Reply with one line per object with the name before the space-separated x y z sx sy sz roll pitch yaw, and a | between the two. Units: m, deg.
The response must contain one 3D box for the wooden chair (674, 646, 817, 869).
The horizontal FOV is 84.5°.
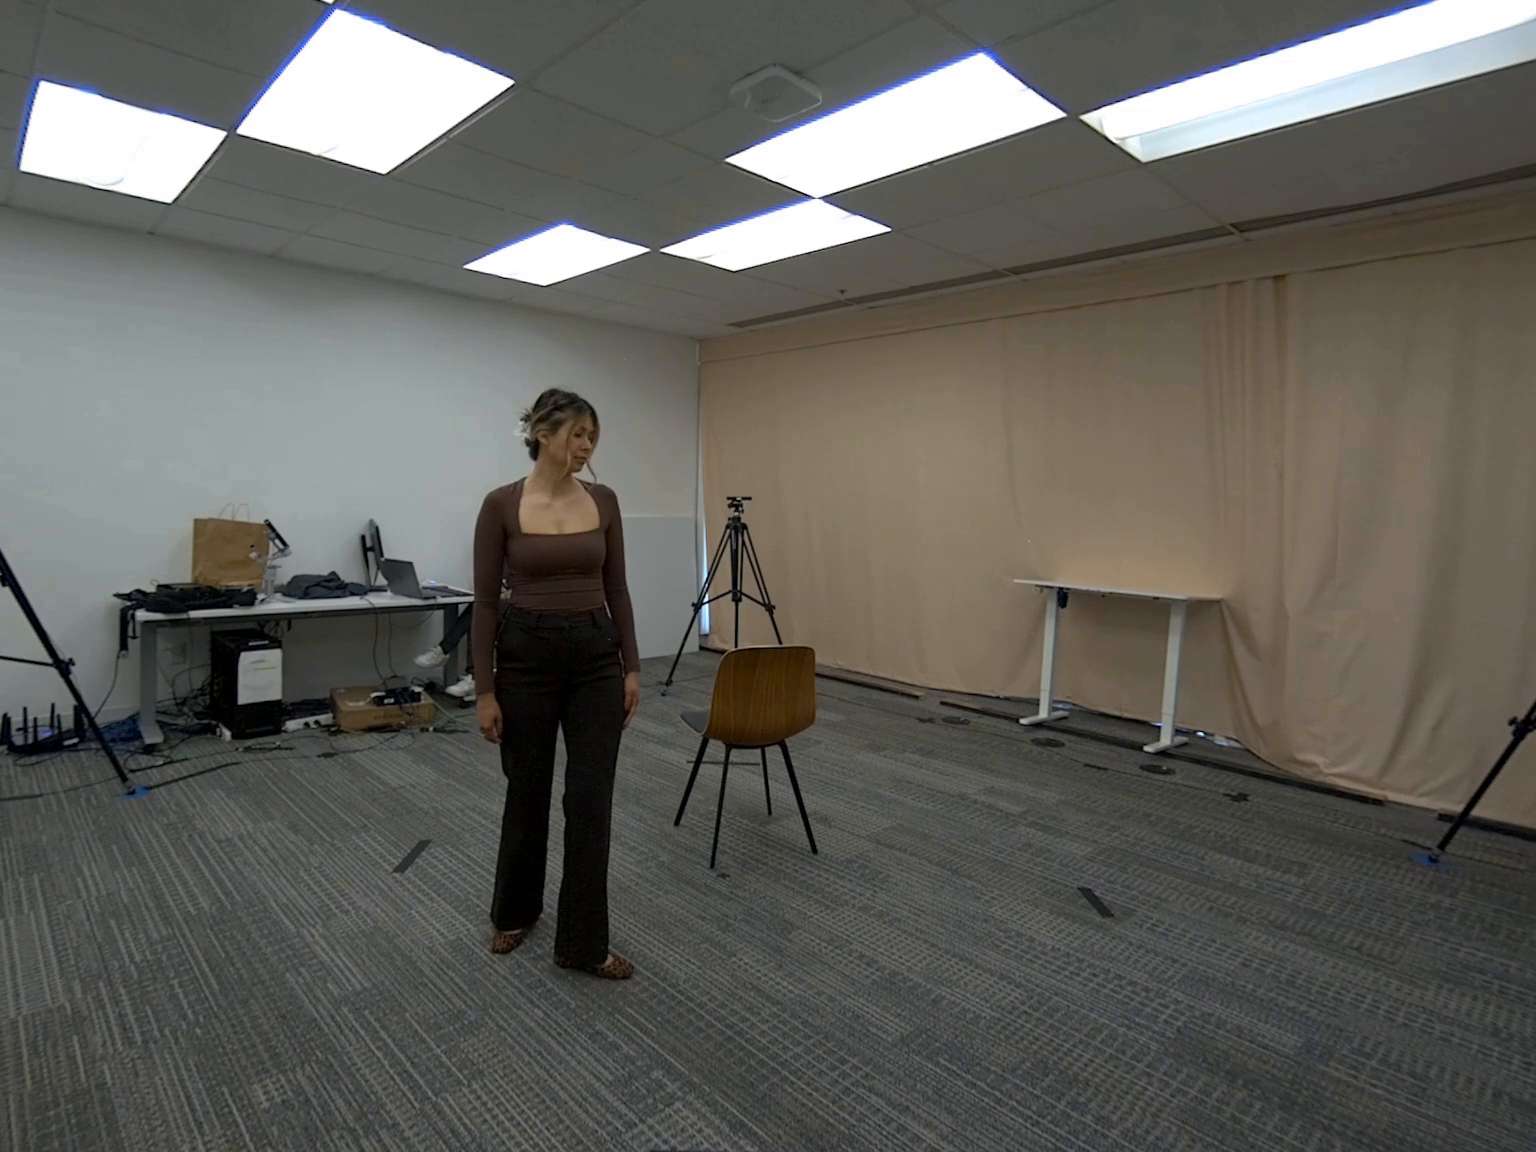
wooden chair | -0.097 0.653 3.424 0.470 0.873 0.534 0 8 -23
